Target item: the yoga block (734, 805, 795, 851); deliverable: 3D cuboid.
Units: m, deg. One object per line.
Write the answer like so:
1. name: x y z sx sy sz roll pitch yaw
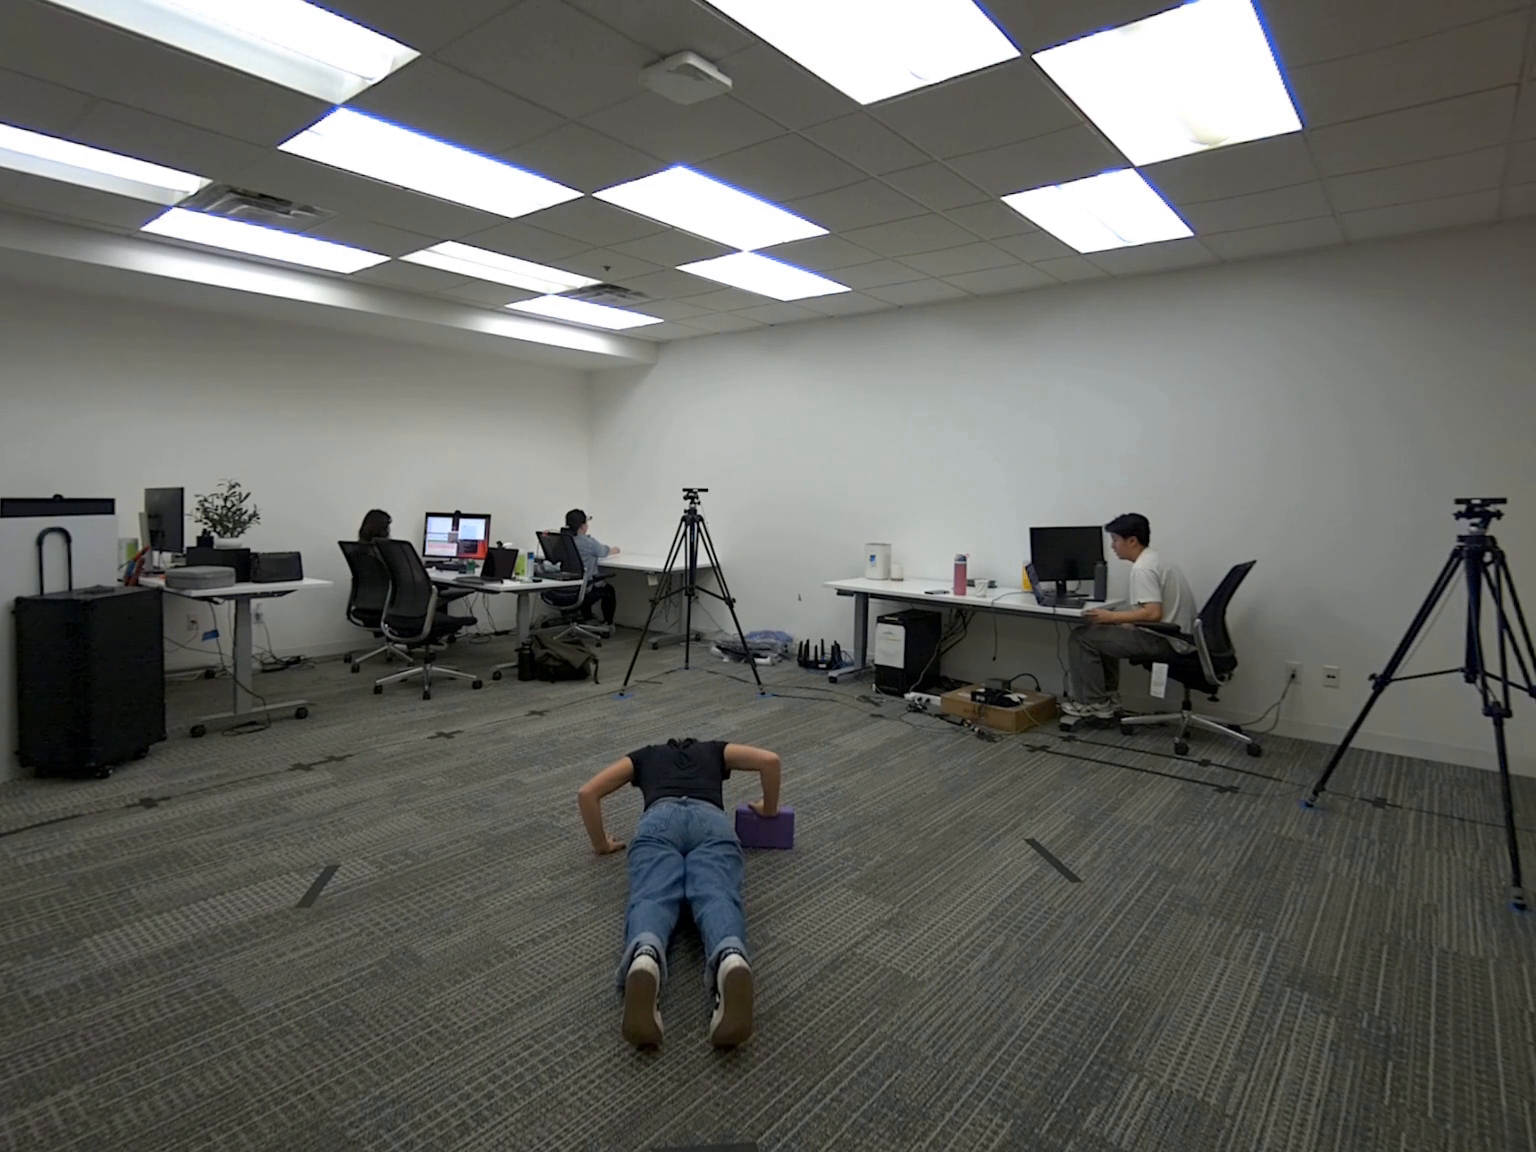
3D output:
1. yoga block: -0.014 0.980 3.329 0.230 0.148 0.076 0 4 2
